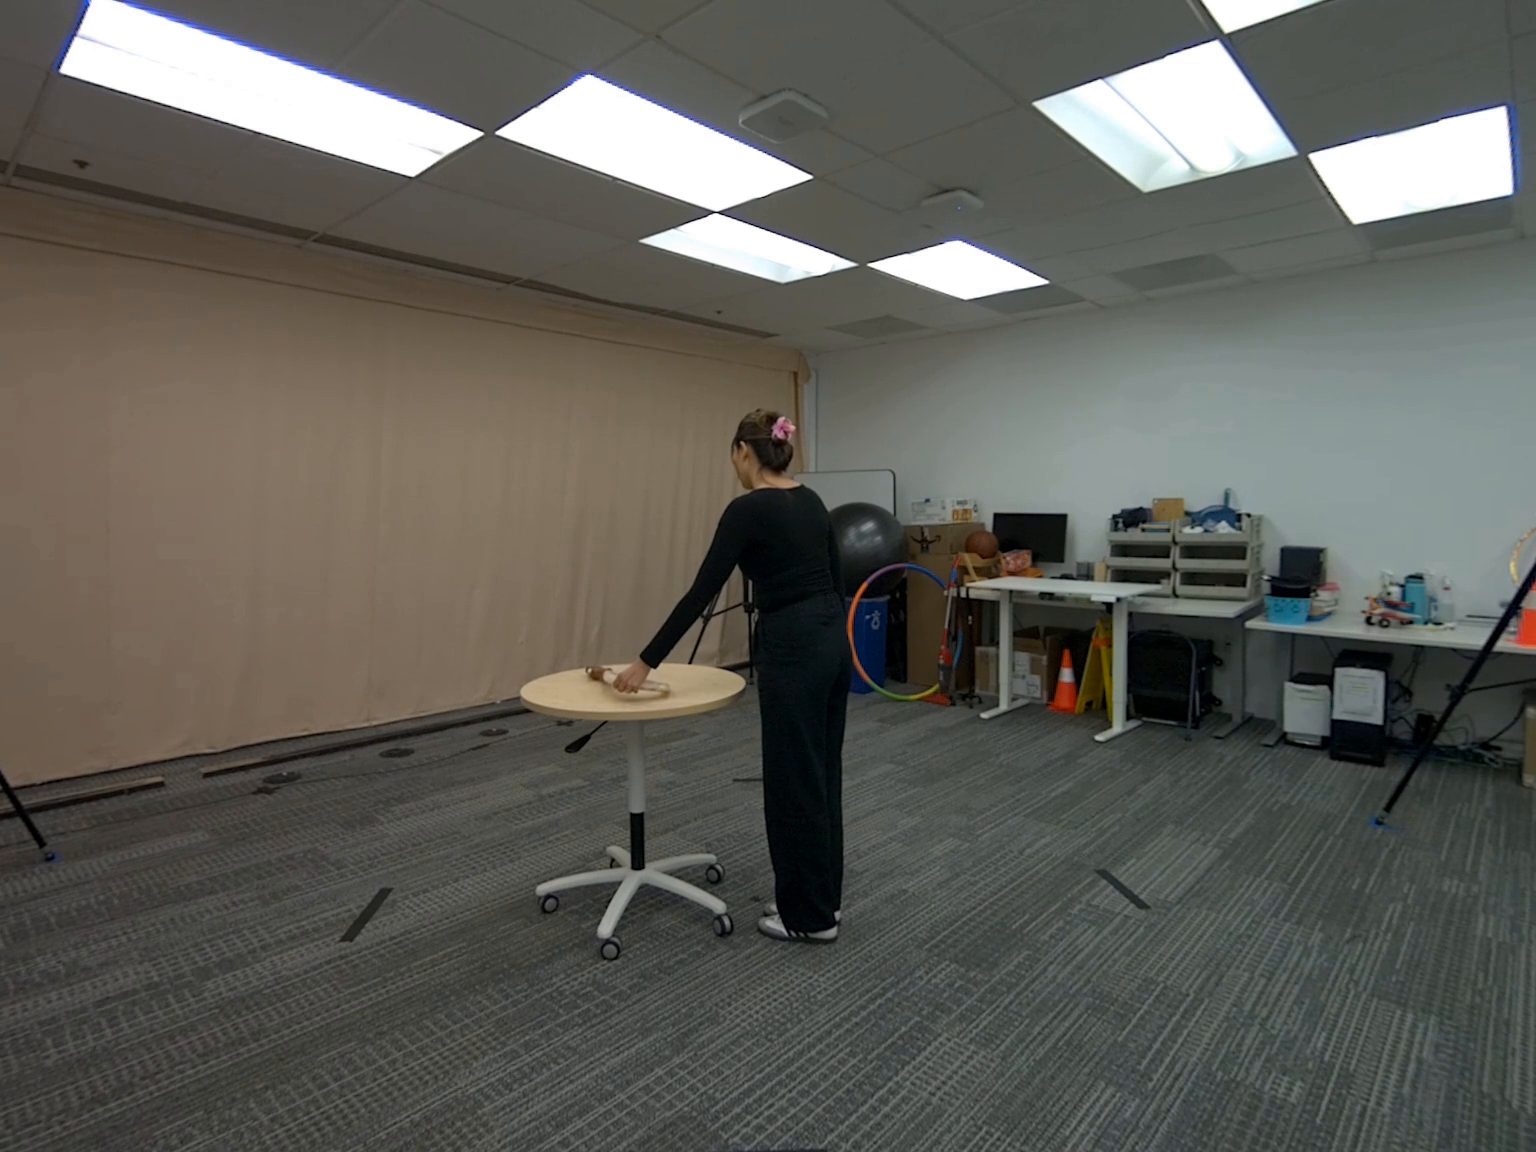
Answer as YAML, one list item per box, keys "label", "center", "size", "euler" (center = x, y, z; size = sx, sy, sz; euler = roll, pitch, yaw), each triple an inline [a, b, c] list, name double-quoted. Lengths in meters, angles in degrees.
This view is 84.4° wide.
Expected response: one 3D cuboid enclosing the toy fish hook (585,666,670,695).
- label: "toy fish hook"
  center: [-0.492, 0.361, 2.858]
  size: [0.219, 0.048, 0.519]
  euler: [15, -4, -24]
